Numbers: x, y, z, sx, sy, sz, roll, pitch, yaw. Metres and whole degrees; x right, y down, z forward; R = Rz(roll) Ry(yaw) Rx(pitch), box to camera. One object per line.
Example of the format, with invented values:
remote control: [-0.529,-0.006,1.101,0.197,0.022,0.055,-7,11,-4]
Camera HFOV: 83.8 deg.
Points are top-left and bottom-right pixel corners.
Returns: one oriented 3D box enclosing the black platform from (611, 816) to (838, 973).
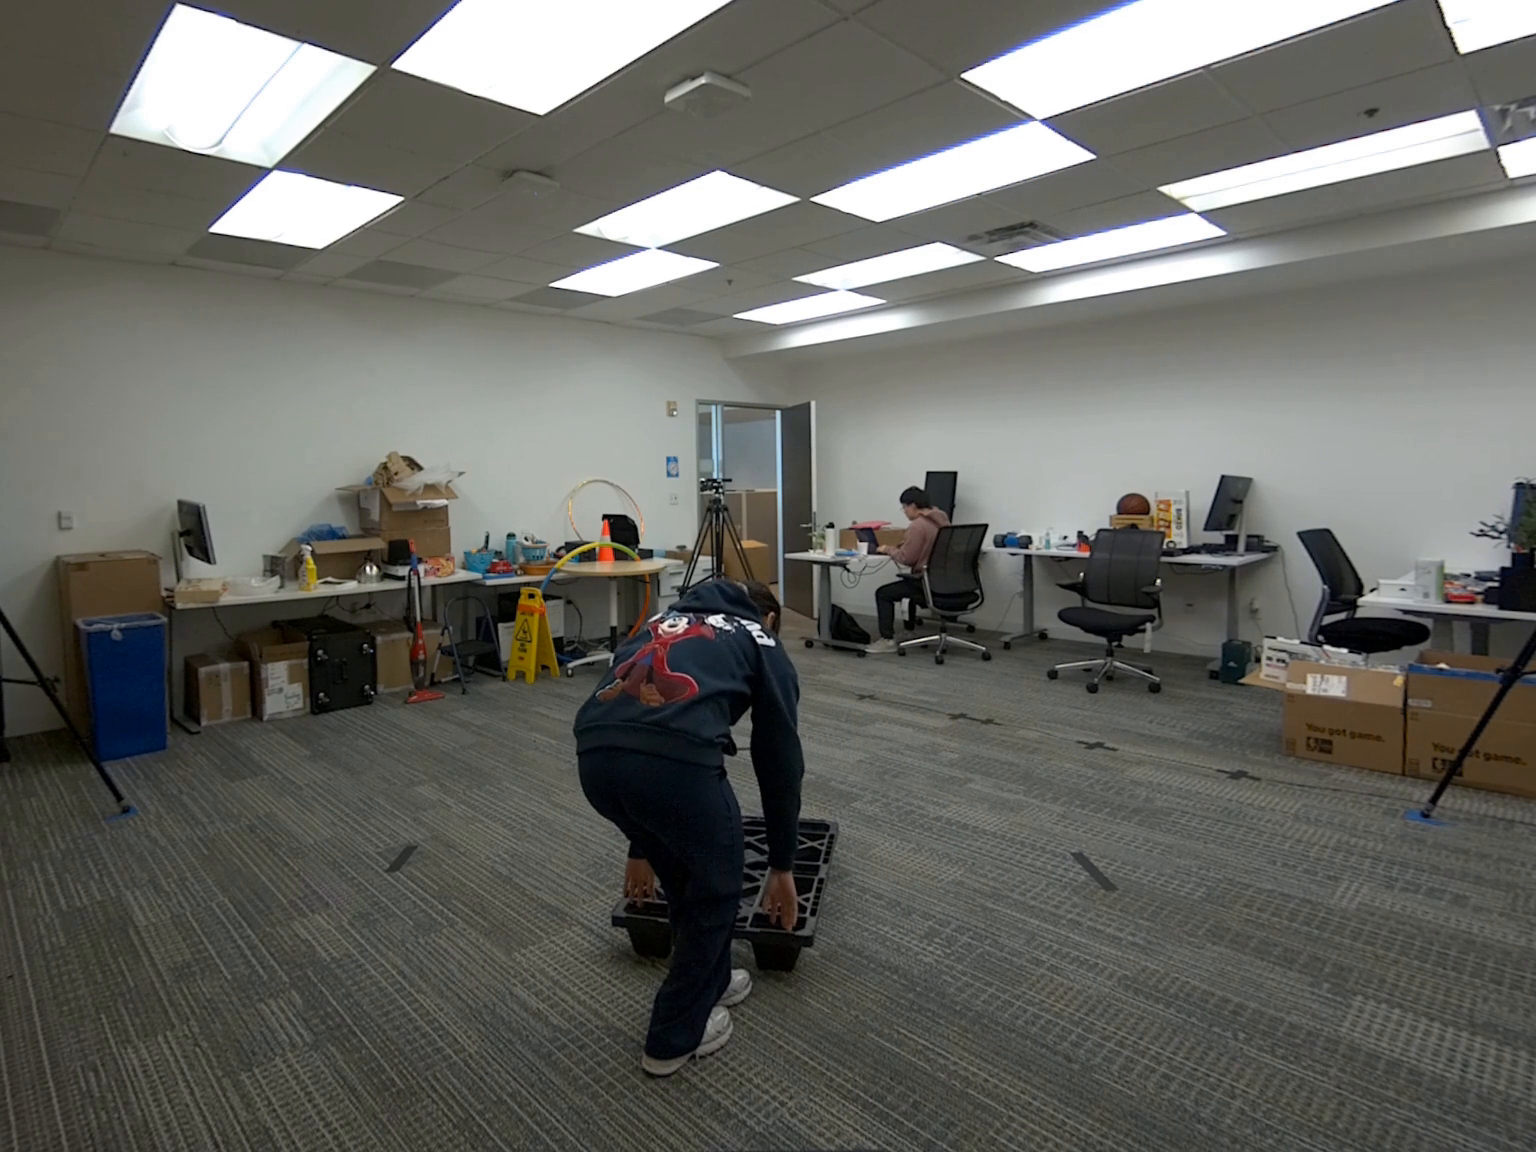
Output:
black platform: [-0.099,1.010,2.815,0.612,0.142,0.800,0,6,11]
